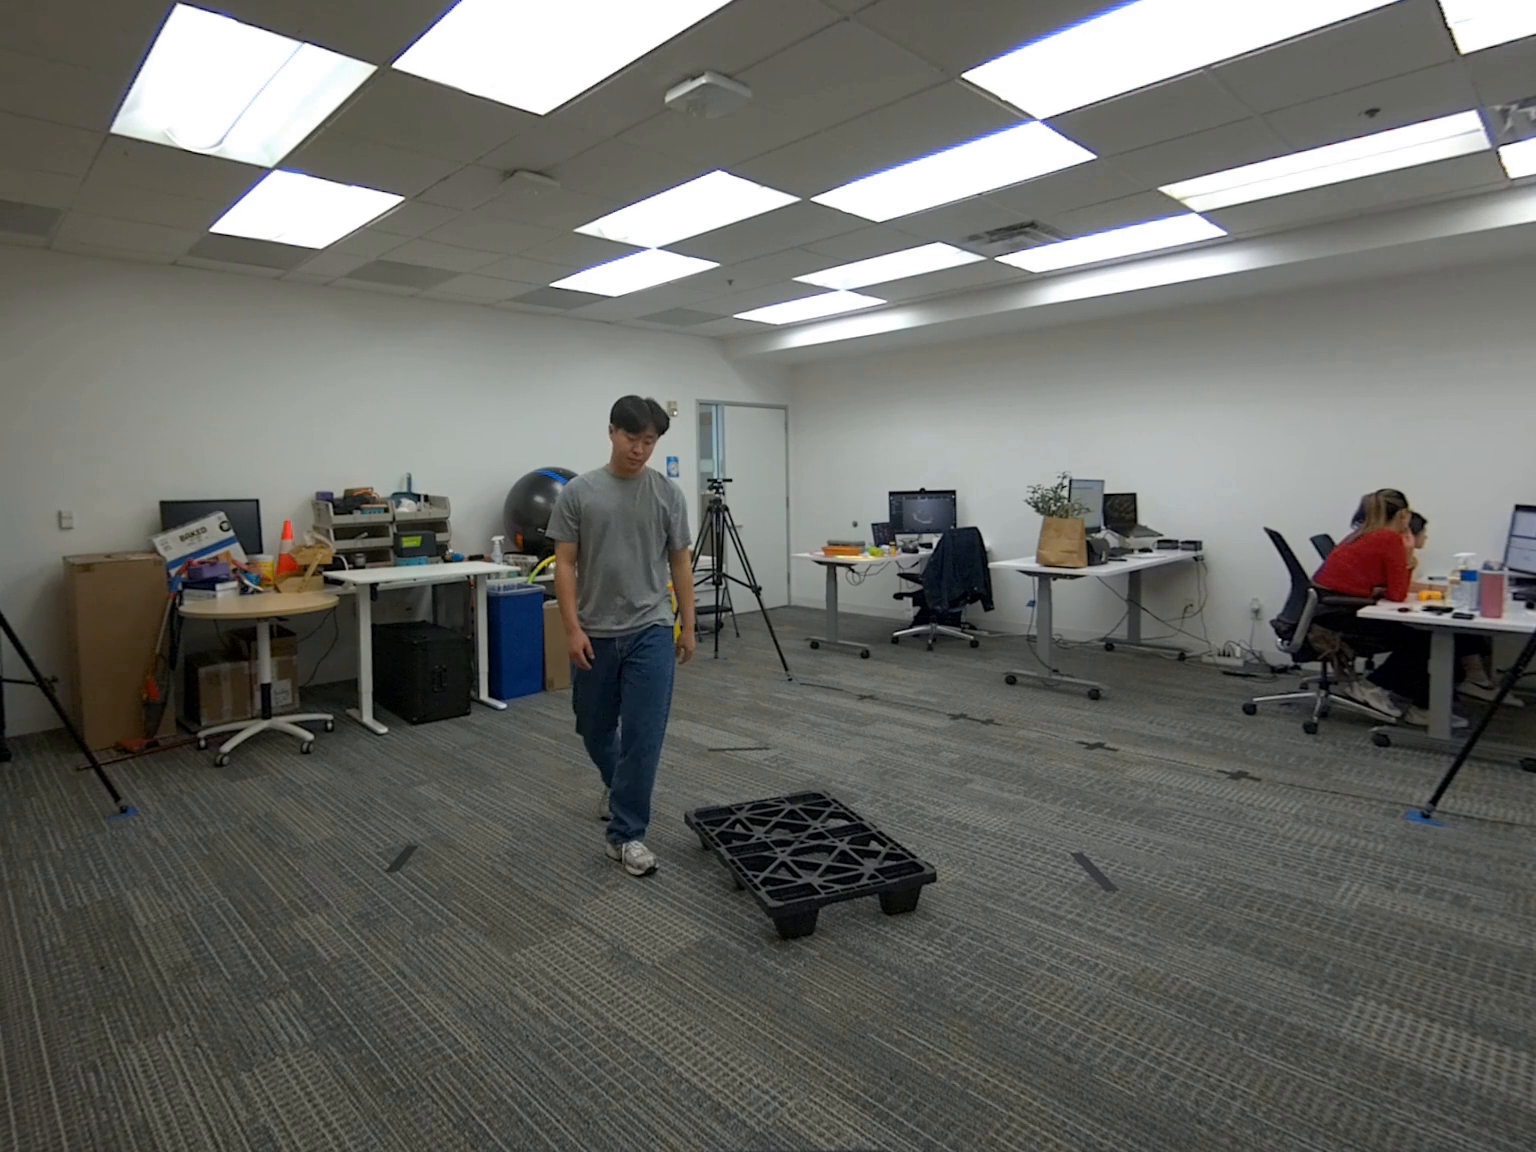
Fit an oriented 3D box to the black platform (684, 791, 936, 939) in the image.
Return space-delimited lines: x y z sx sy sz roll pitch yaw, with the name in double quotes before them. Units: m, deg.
"black platform" 0.113 0.986 2.994 0.594 0.142 0.825 -4 7 -23
